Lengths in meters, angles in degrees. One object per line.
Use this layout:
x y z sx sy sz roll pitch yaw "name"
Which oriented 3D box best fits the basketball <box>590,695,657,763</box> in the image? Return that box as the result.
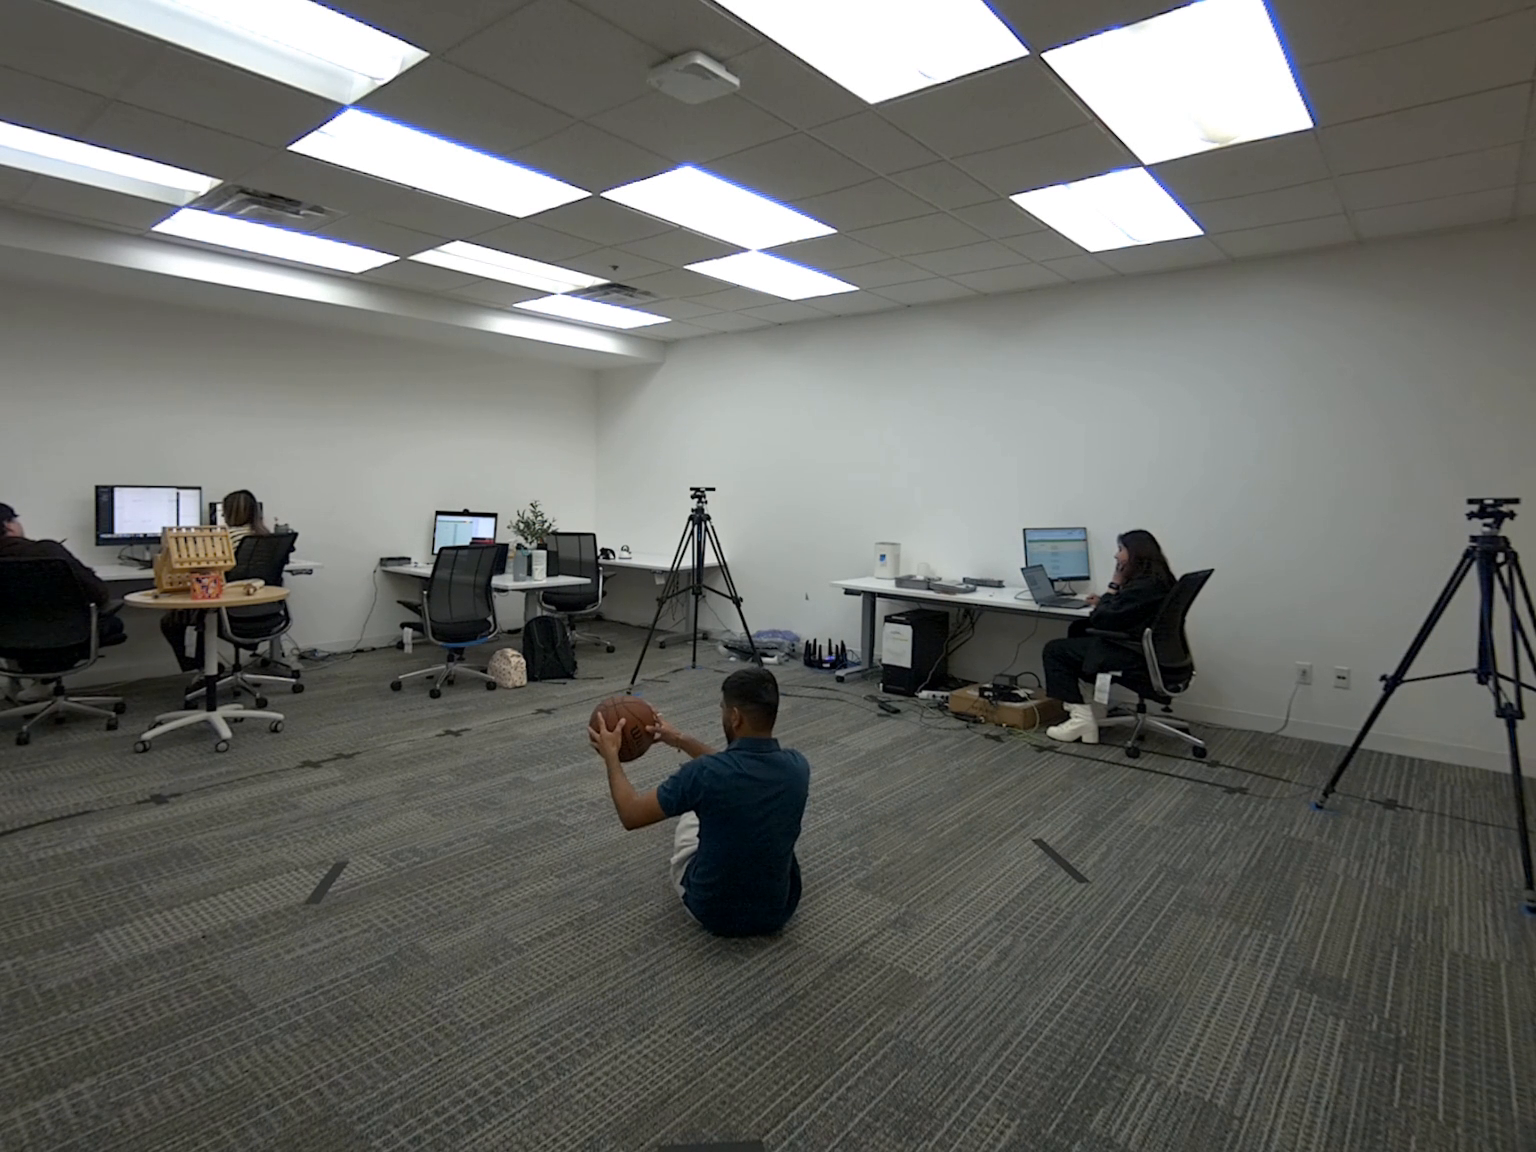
-0.514 0.536 3.043 0.235 0.235 0.237 1 4 -2 "basketball"
